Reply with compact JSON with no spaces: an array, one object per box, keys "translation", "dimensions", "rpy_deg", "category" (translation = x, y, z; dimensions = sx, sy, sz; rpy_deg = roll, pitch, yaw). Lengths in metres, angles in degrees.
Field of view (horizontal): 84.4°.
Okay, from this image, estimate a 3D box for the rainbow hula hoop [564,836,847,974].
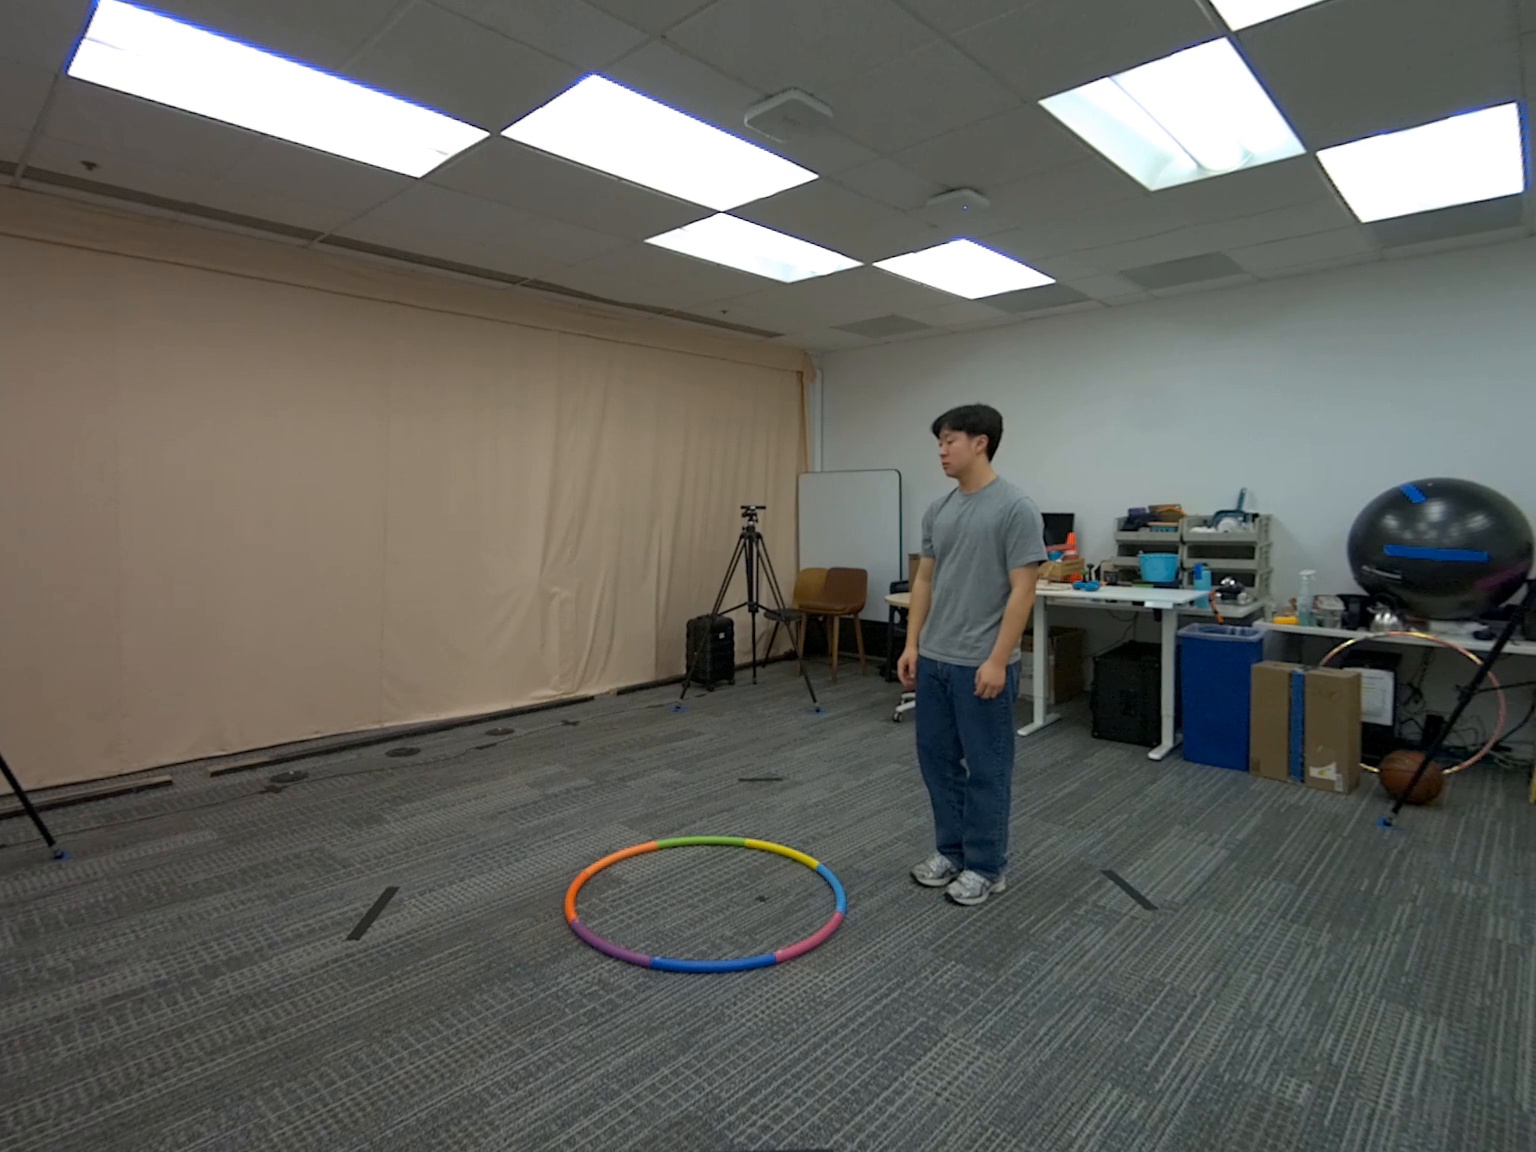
[{"translation":[-0.220,1.113,2.991],"dimensions":[0.978,0.035,0.982],"rpy_deg":[0,5,-2],"category":"rainbow hula hoop"}]
